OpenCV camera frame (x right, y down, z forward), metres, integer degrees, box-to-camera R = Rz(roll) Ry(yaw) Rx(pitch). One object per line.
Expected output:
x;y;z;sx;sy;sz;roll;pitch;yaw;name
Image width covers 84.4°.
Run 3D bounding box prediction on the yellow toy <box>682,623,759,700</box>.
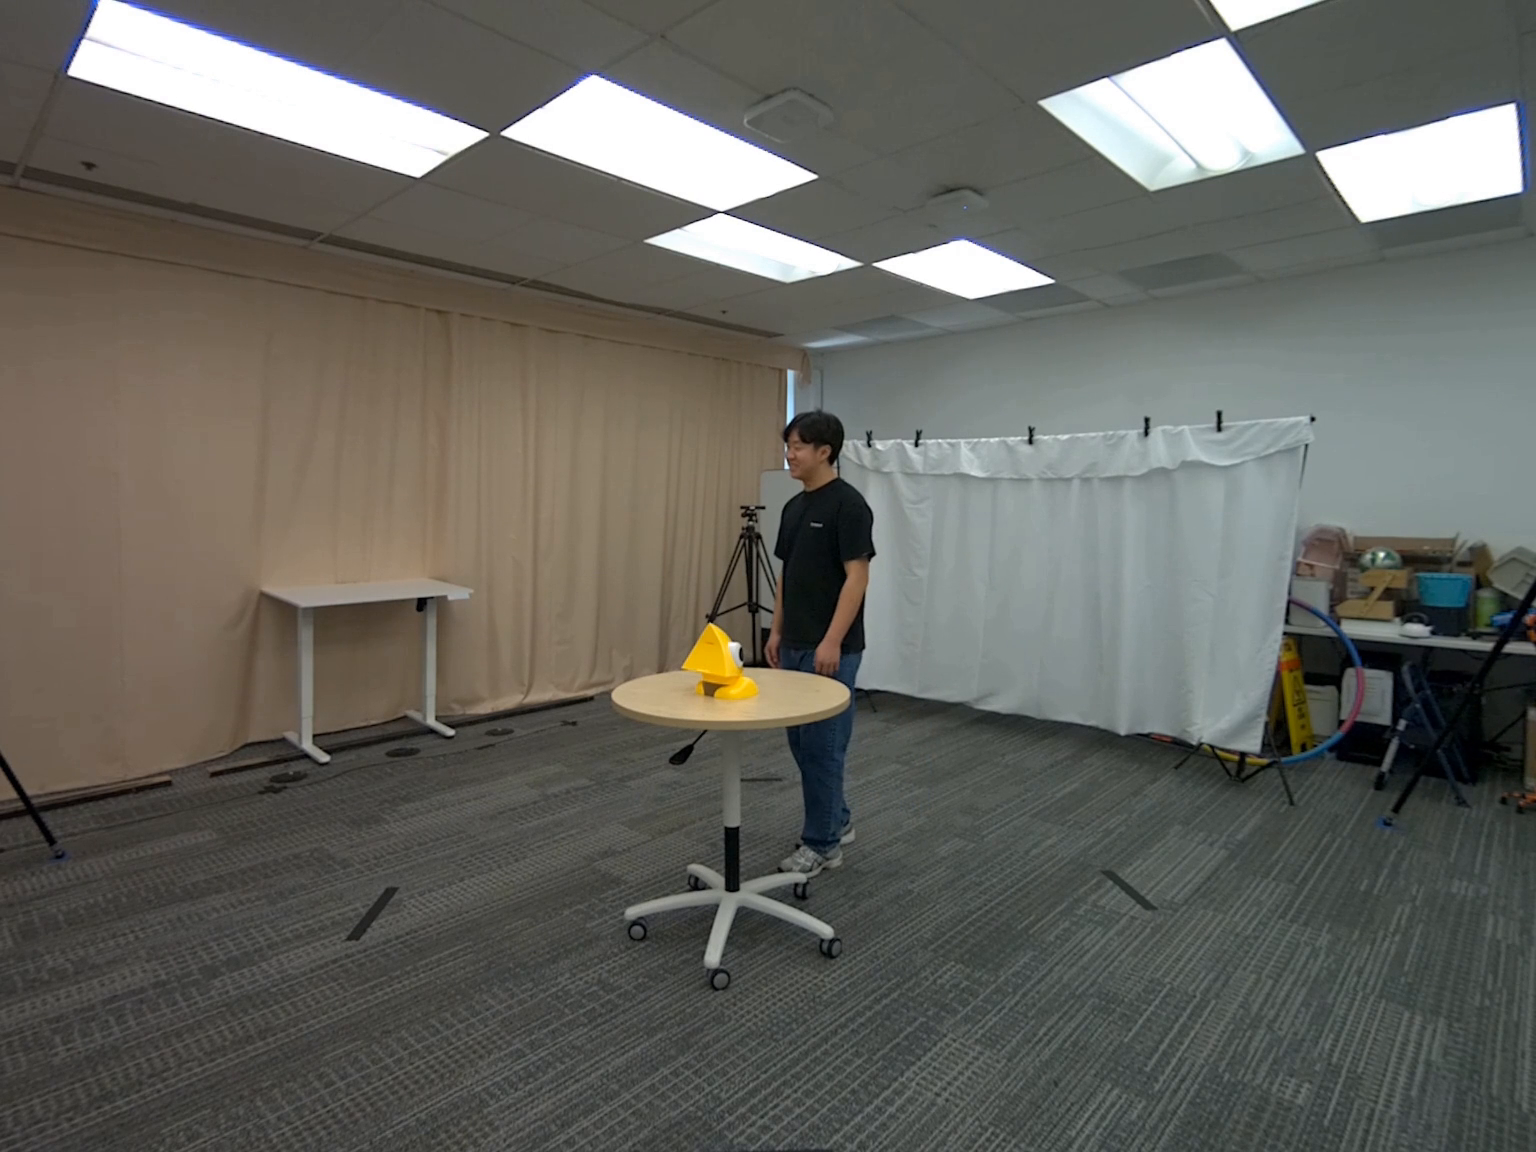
-0.138;0.261;2.681;0.211;0.230;0.187;3;5;43;yellow toy
